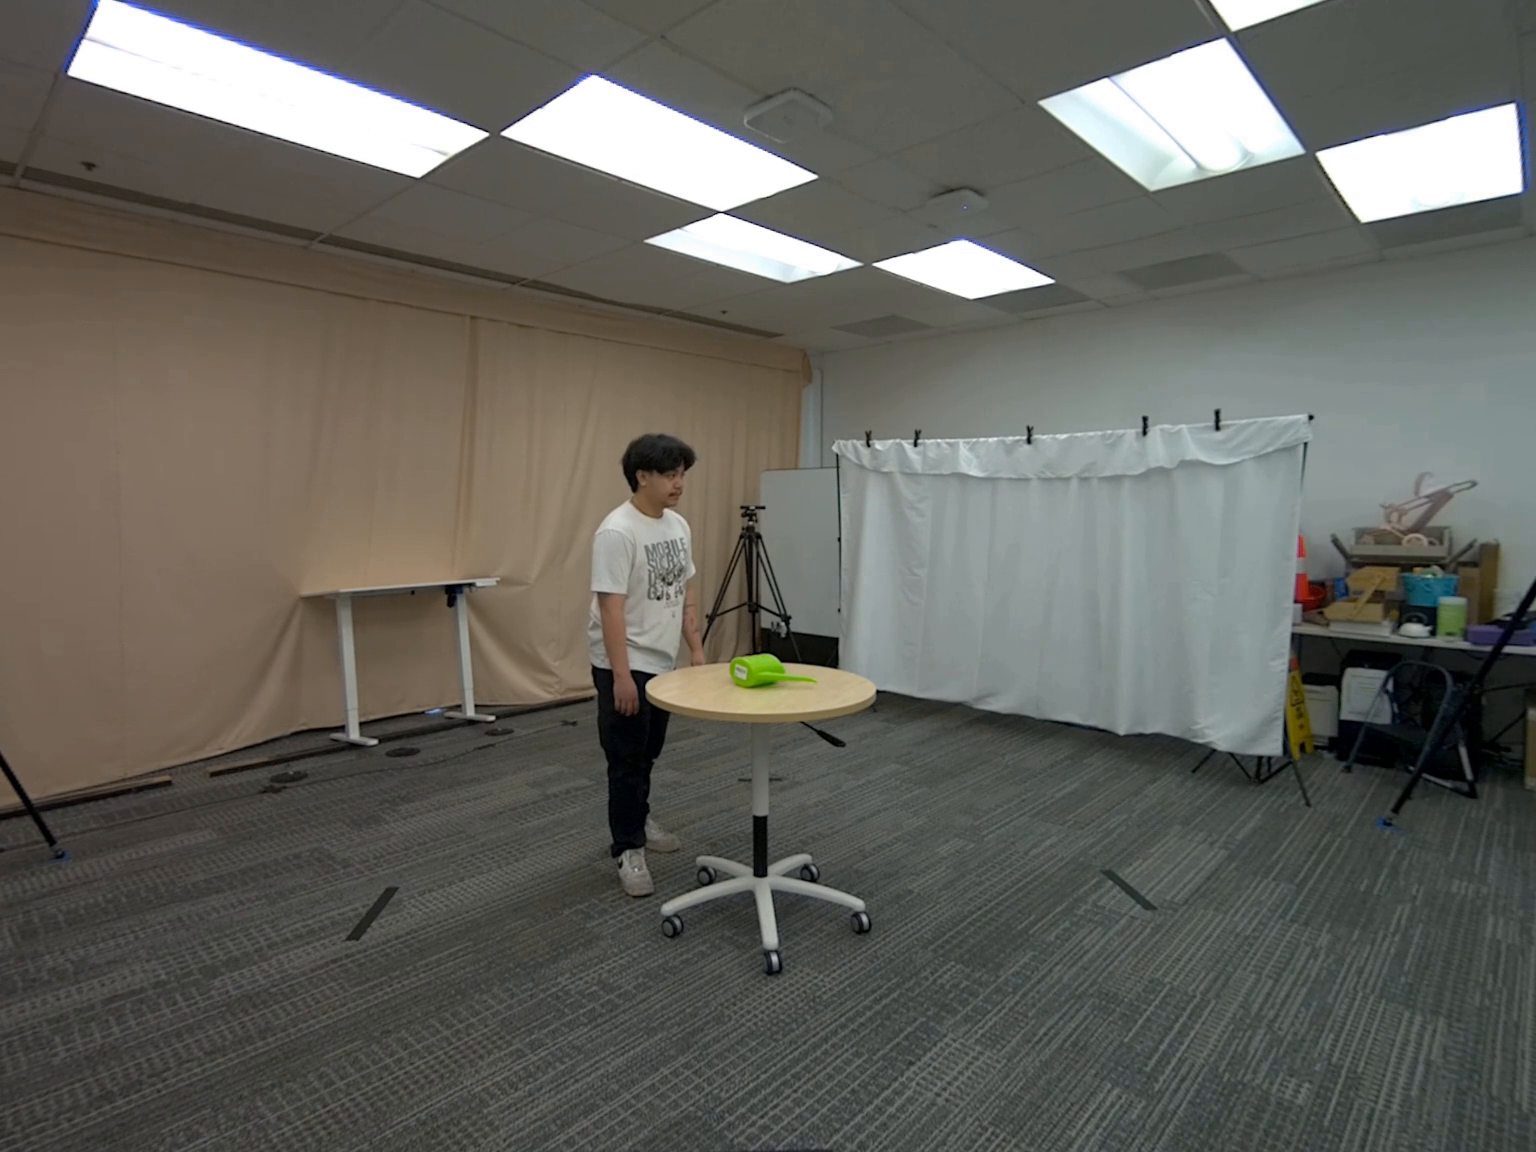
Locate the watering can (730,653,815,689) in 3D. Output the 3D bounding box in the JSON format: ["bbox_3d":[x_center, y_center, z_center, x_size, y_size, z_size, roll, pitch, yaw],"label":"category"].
[{"bbox_3d":[0.009,0.313,2.806,0.171,0.098,0.287,-5,2,-42],"label":"watering can"}]
